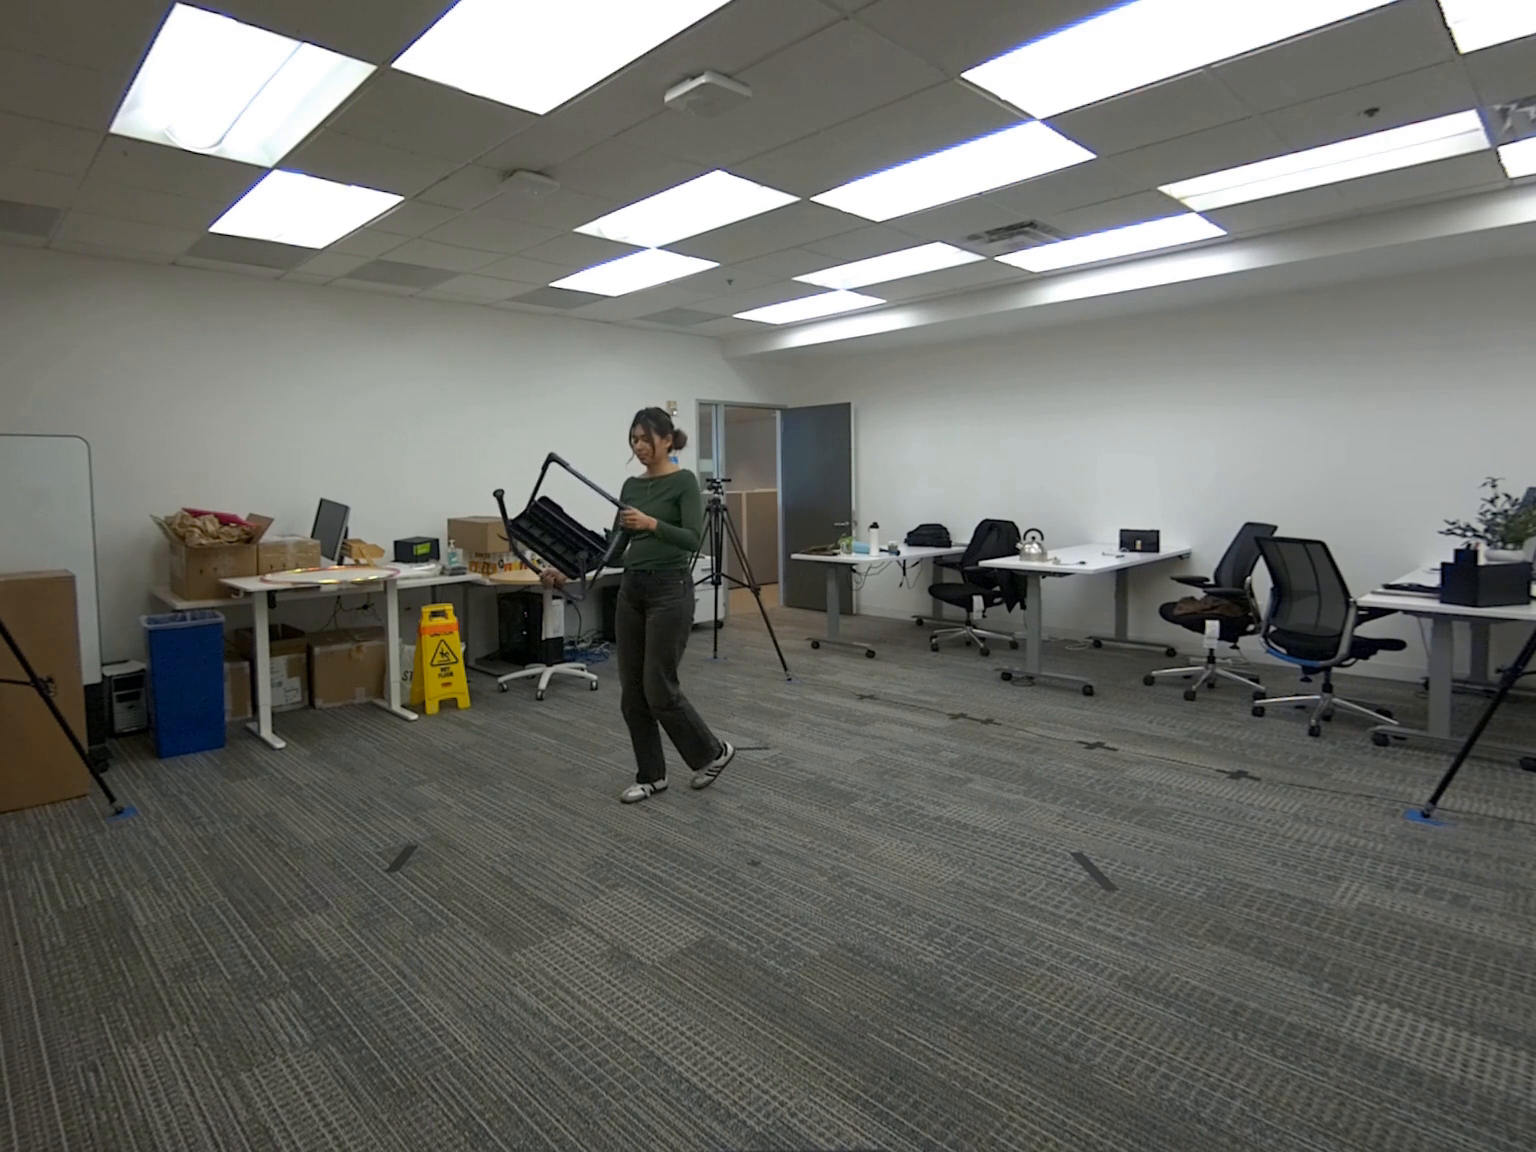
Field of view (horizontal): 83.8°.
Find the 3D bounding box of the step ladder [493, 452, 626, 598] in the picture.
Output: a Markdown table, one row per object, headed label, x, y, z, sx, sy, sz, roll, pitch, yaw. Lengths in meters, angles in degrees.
| label | x | y | z | sx | sy | sz | roll | pitch | yaw |
| --- | --- | --- | --- | --- | --- | --- | --- | --- | --- |
| step ladder | -0.865 | -0.106 | 3.461 | 0.434 | 0.601 | 0.349 | 37 | 47 | 5 |
